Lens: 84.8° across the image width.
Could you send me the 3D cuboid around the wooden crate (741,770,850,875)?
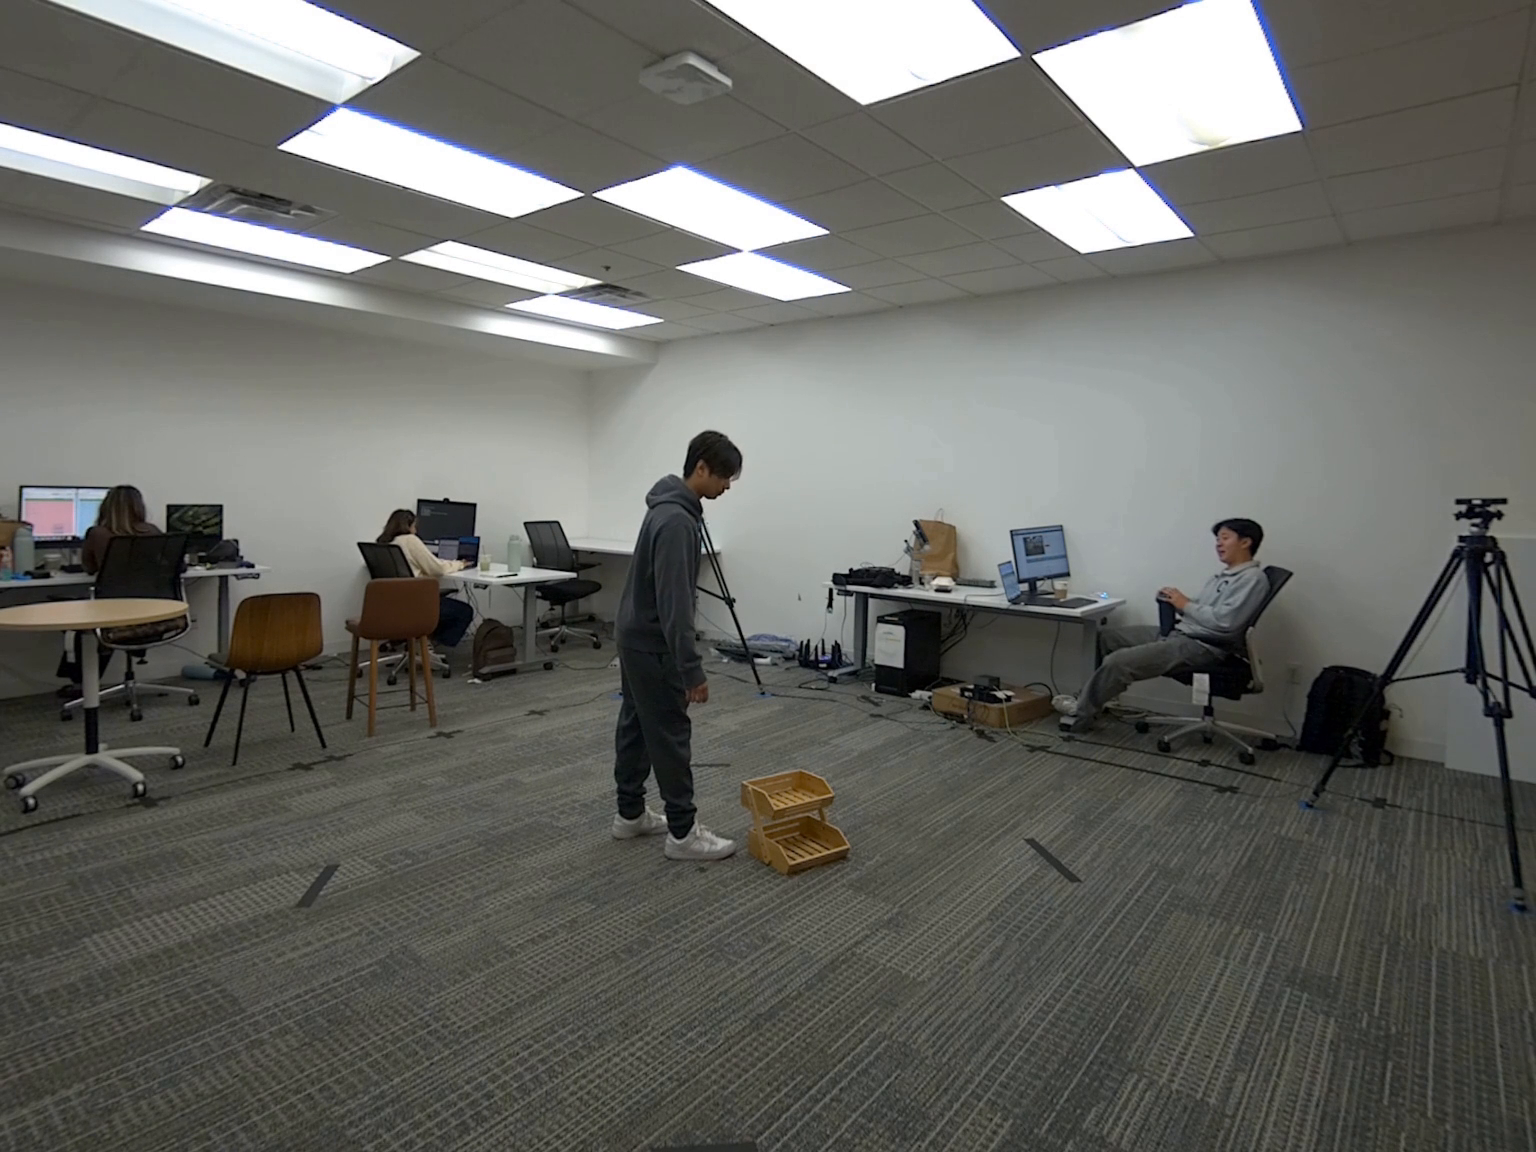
[{"bbox_3d":[0.097,0.929,3.257,0.315,0.272,0.312,-2,5,-37],"label":"wooden crate"}]
